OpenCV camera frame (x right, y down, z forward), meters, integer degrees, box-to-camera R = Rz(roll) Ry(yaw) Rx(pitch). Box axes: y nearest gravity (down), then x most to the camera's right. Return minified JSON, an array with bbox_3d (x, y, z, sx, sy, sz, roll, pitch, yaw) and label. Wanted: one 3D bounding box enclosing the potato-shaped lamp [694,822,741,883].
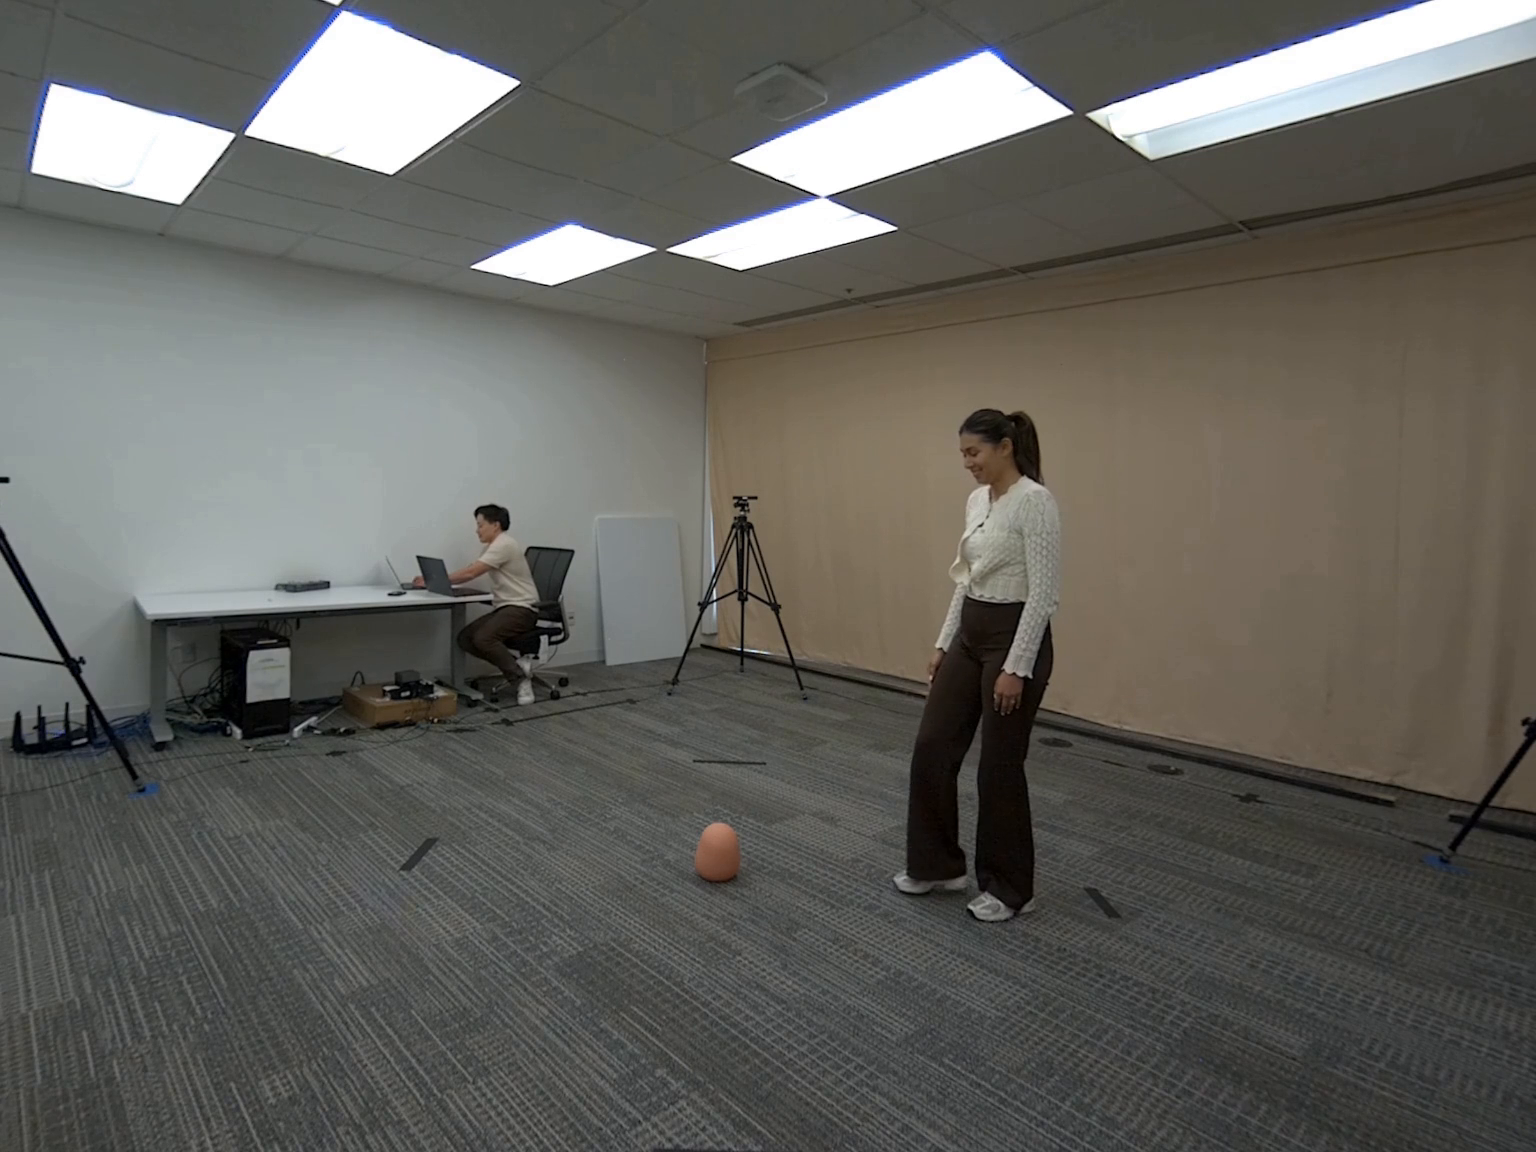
[{"bbox_3d":[-0.188,1.001,3.082,0.163,0.197,0.174,1,5,-16],"label":"potato-shaped lamp"}]
